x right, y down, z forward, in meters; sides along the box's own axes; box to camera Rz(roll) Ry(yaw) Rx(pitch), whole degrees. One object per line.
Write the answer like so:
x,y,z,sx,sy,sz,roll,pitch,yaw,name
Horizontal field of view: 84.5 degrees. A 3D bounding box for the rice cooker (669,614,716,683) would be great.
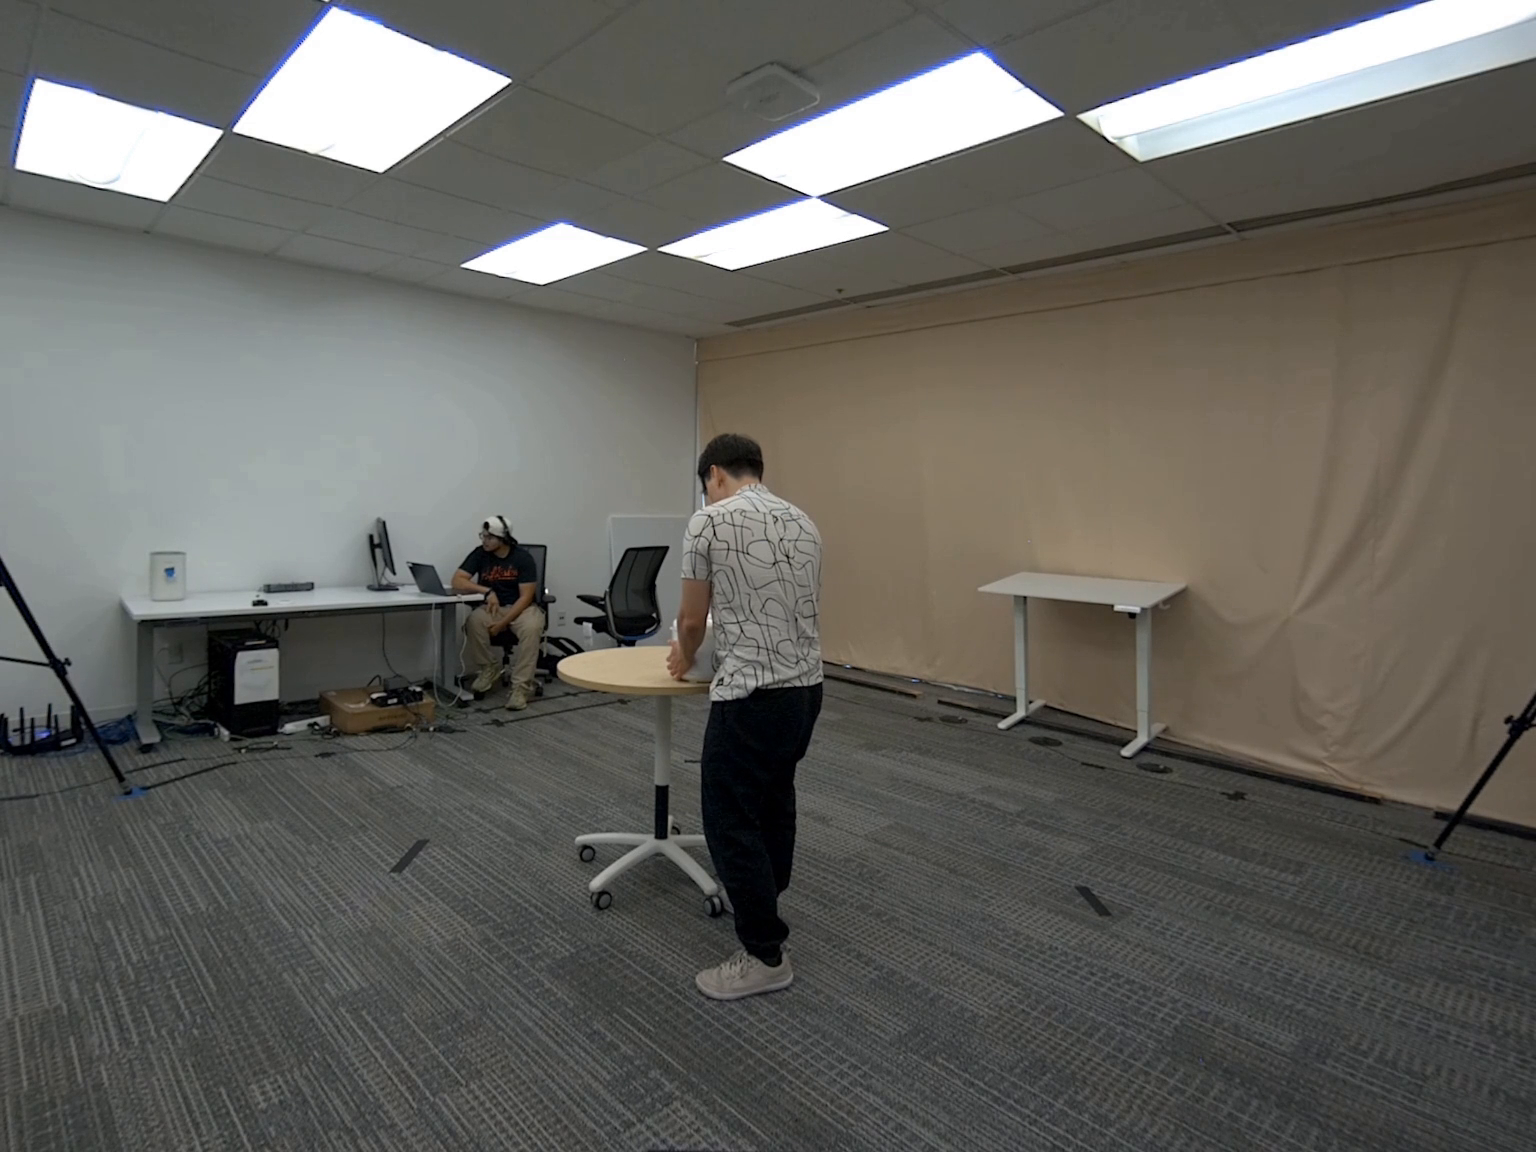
-0.224,0.231,2.827,0.216,0.232,0.223,-2,5,-37,rice cooker
